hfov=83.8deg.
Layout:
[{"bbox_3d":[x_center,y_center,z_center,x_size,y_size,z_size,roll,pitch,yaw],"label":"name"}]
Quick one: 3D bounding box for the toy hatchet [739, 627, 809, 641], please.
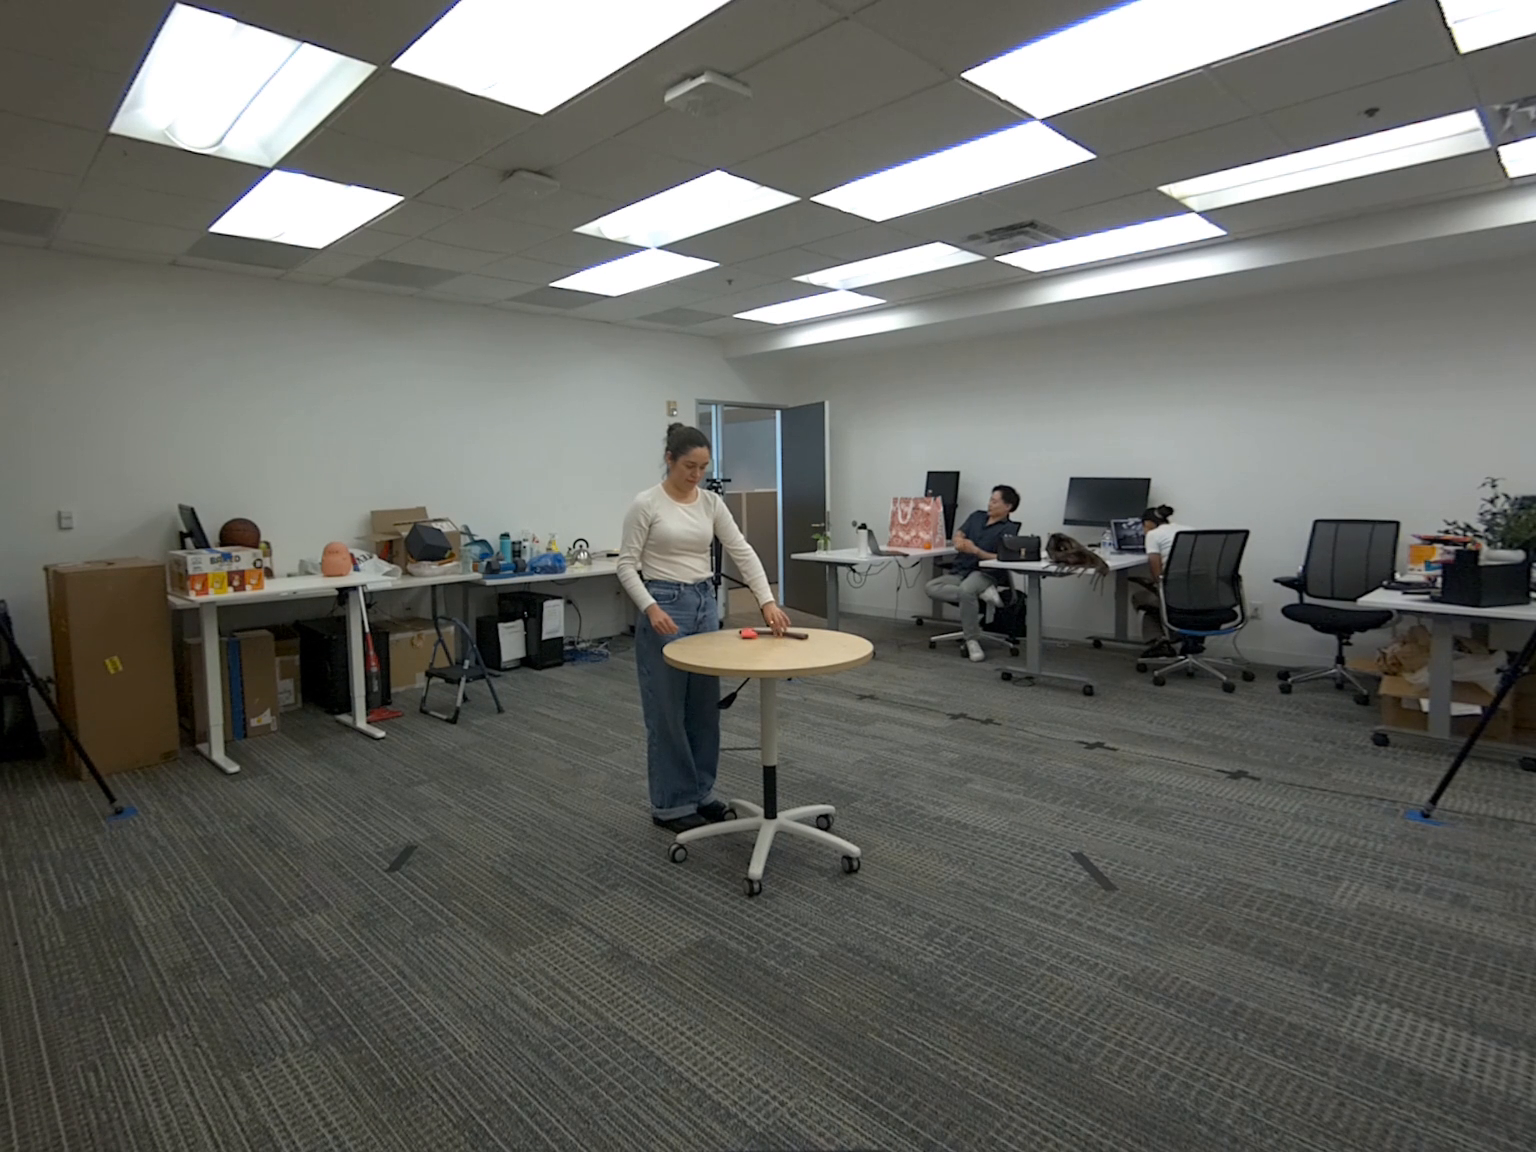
[{"bbox_3d":[0.004,0.229,3.275,0.278,0.029,0.128,6,10,32],"label":"toy hatchet"}]
